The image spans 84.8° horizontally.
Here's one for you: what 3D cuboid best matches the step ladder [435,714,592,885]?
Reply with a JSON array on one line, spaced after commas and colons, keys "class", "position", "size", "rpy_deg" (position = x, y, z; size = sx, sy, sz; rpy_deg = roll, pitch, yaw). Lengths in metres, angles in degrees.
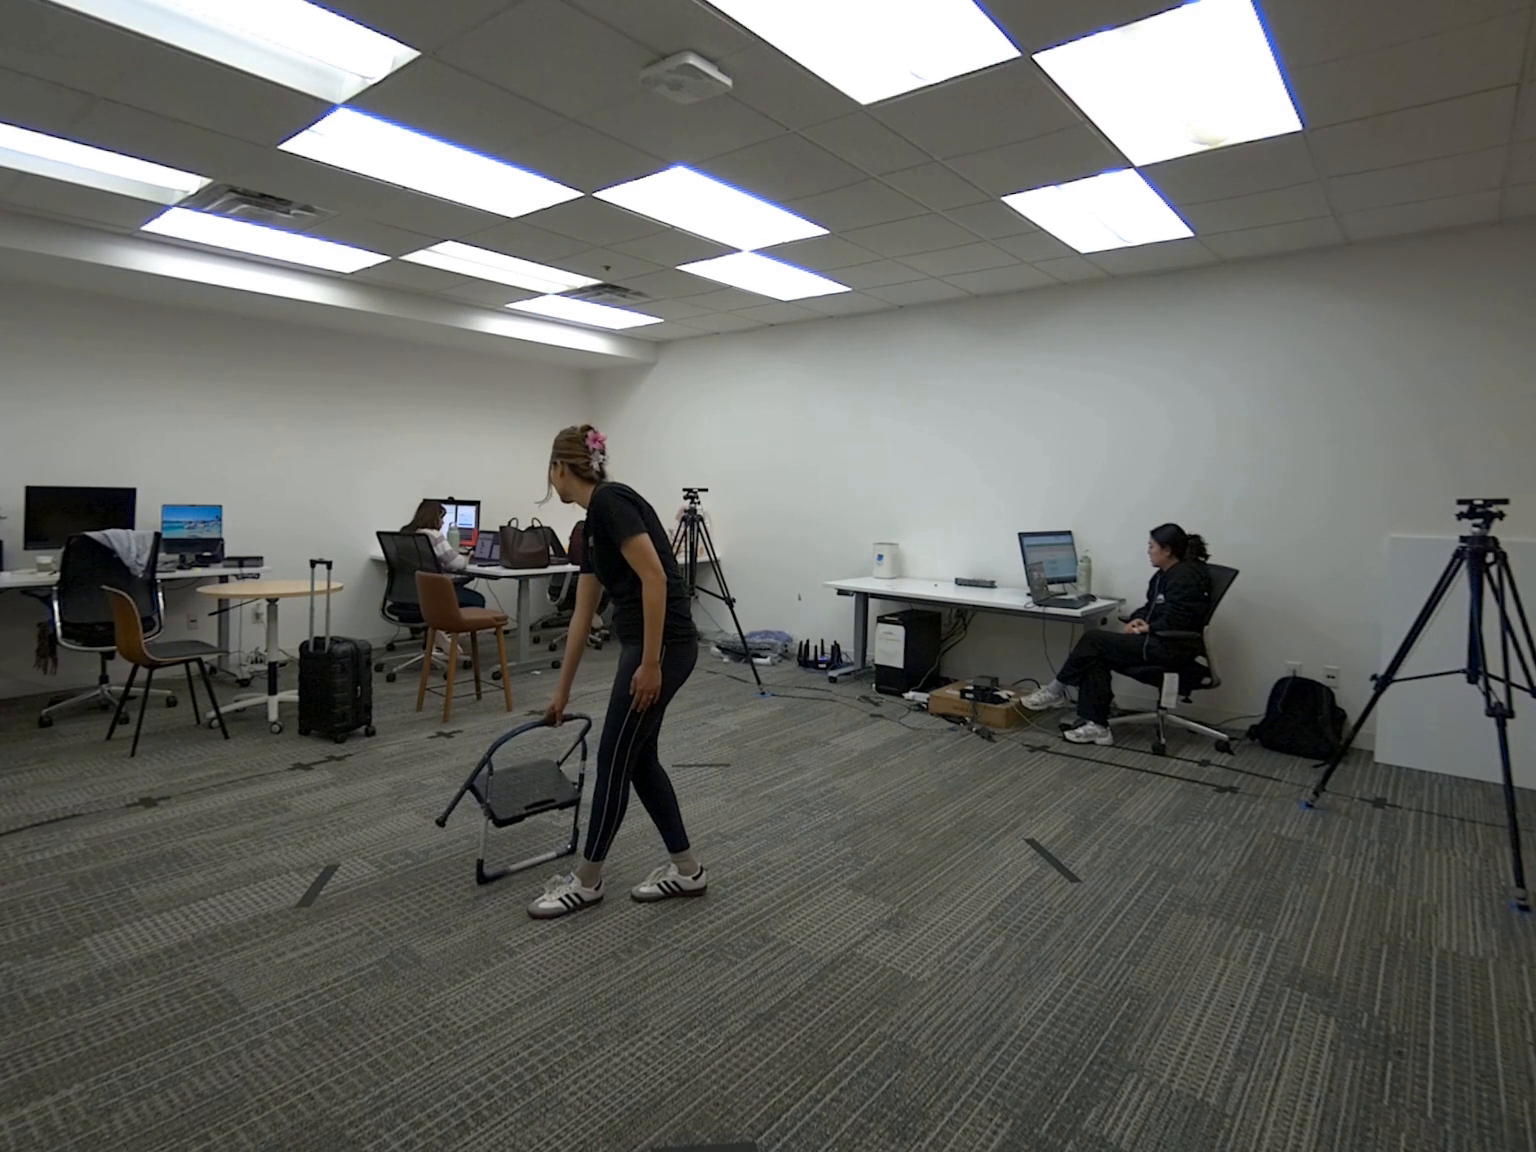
[{"class": "step ladder", "position": [-0.897, 0.719, 3.100], "size": [0.417, 0.600, 0.364], "rpy_deg": [-3, 31, -47]}]
